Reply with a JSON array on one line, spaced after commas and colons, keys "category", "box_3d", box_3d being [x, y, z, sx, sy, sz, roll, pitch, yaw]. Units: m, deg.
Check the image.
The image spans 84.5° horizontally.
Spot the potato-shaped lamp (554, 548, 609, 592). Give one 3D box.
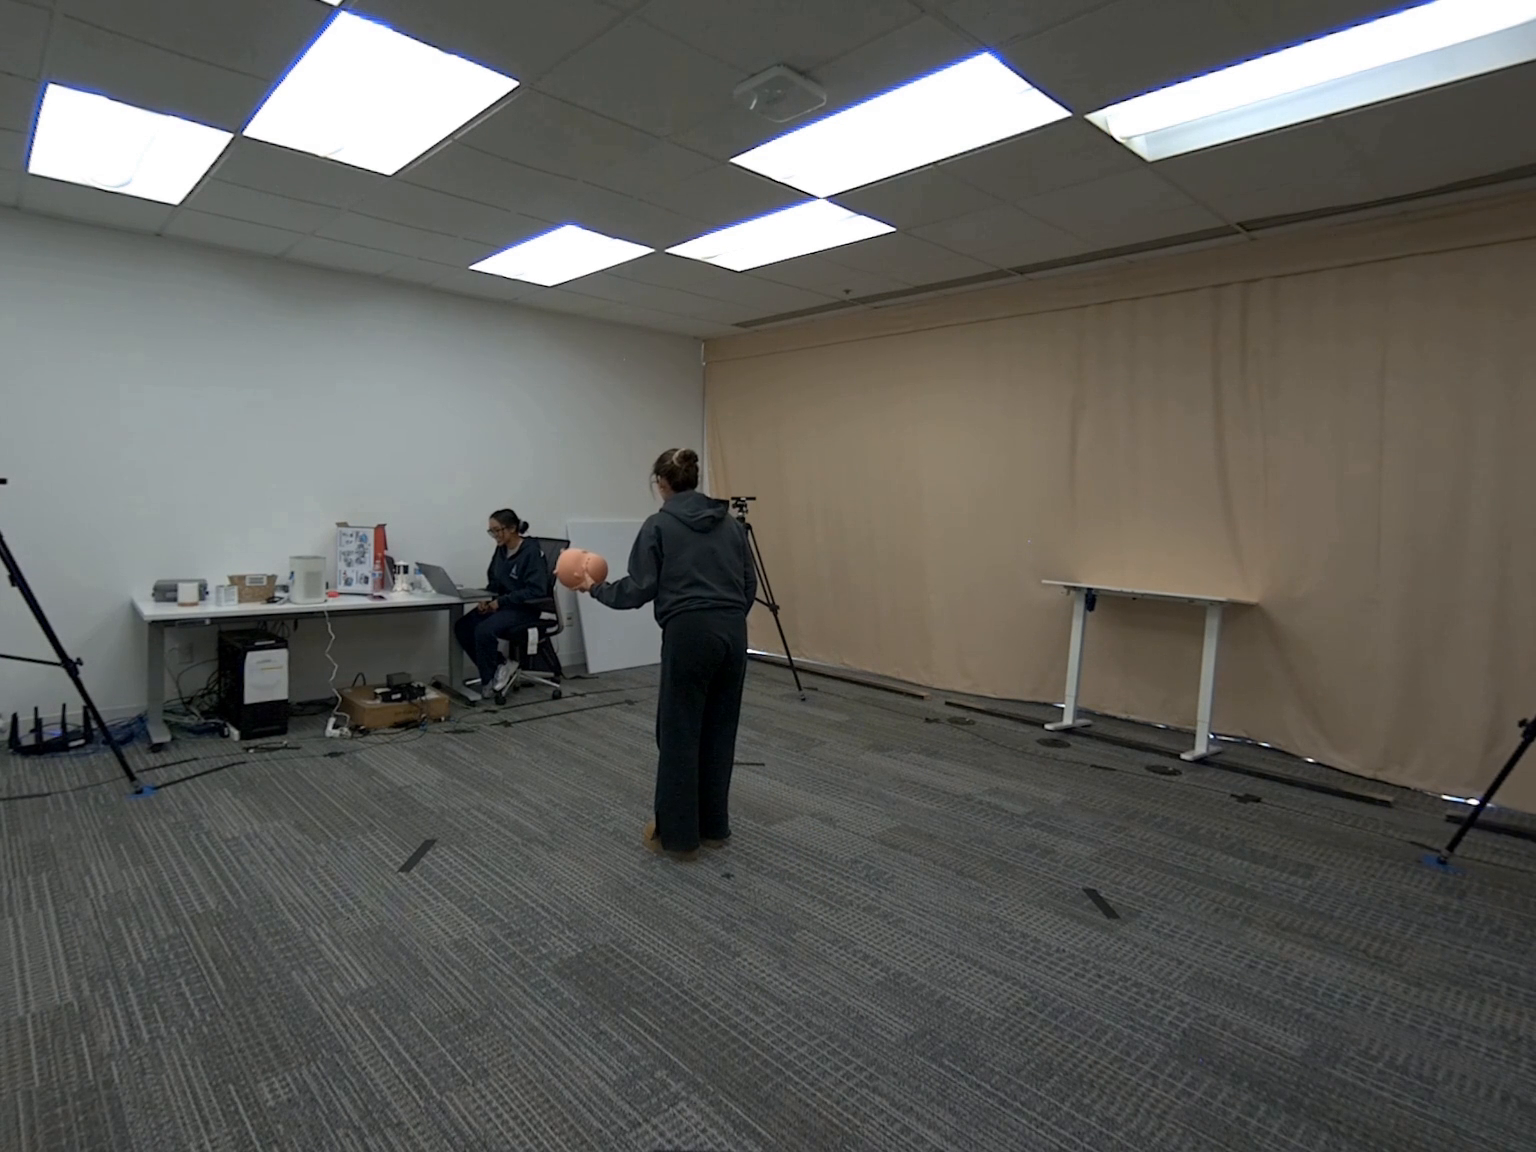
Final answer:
[{"category": "potato-shaped lamp", "box_3d": [-0.761, -0.028, 3.450, 0.201, 0.167, 0.166, 0, -32, 16]}]
